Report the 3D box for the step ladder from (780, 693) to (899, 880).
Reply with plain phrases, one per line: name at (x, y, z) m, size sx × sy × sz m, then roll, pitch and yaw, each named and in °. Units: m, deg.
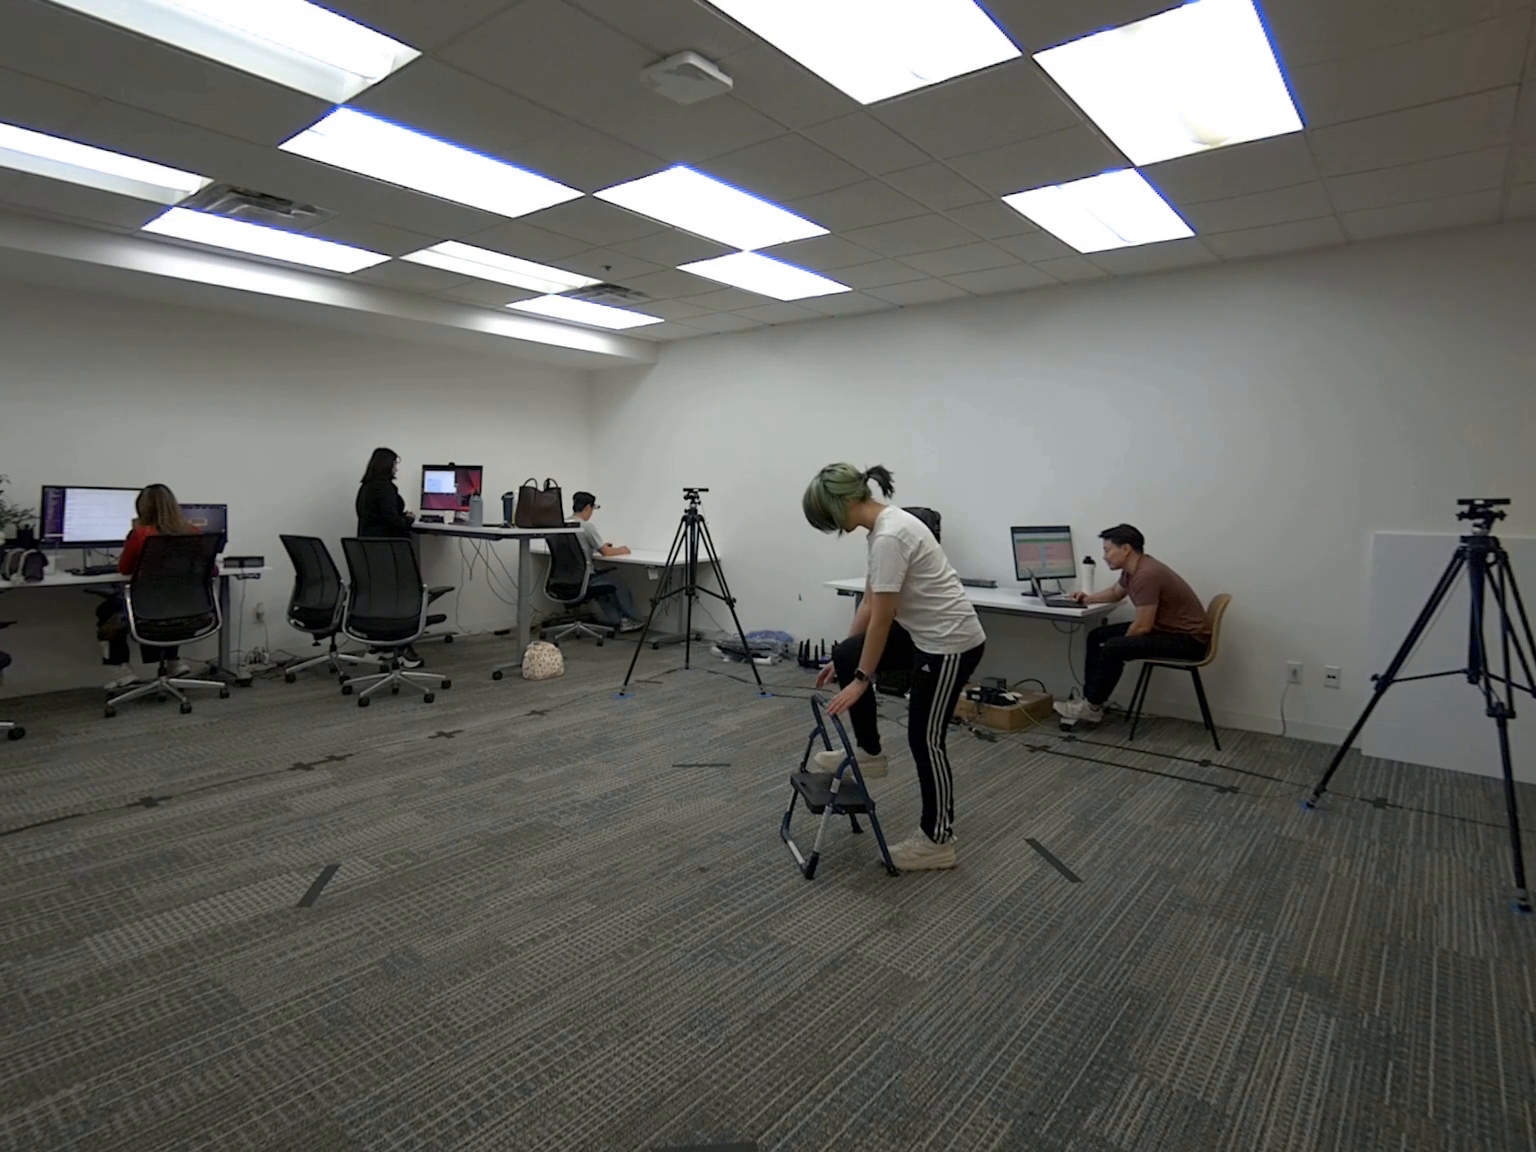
step ladder at (0.255, 0.766, 3.259) m, size 0.345 × 0.604 × 0.437 m, roll 1°, pitch 4°, yaw -11°
